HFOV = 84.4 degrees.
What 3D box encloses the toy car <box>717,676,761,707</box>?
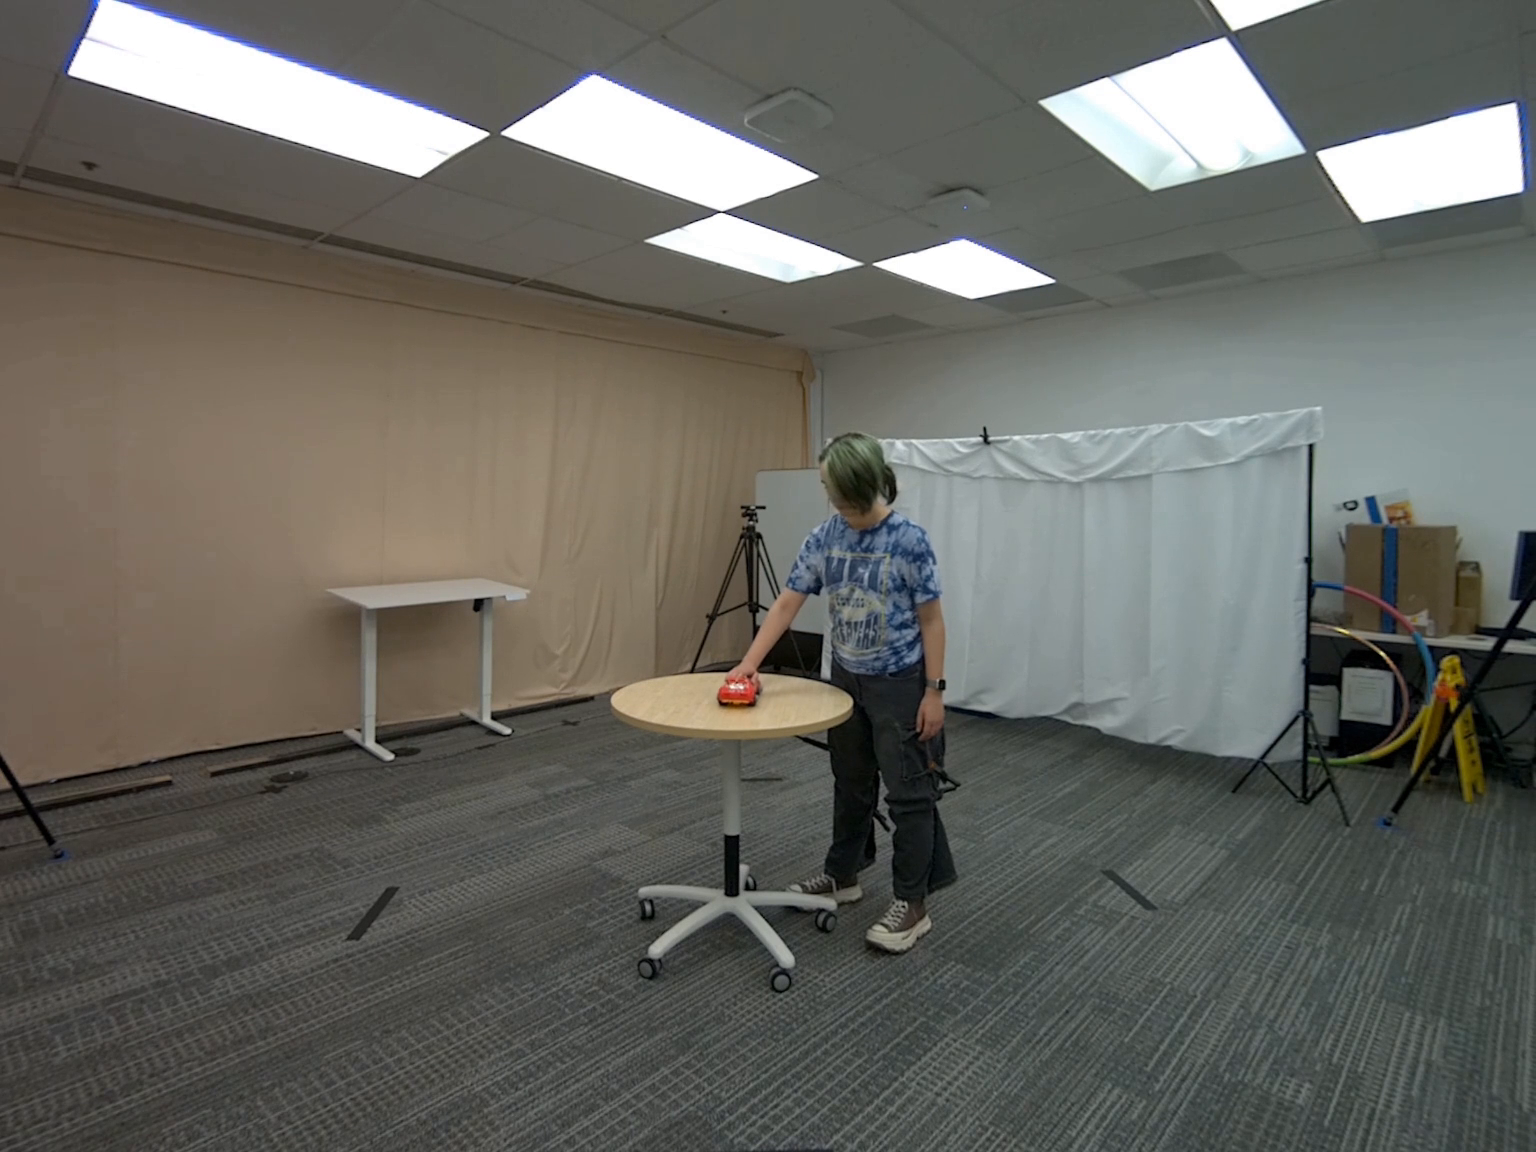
[{"bbox_3d":[-0.081,0.362,2.624,0.131,0.083,0.251,2,-6,7],"label":"toy car"}]
